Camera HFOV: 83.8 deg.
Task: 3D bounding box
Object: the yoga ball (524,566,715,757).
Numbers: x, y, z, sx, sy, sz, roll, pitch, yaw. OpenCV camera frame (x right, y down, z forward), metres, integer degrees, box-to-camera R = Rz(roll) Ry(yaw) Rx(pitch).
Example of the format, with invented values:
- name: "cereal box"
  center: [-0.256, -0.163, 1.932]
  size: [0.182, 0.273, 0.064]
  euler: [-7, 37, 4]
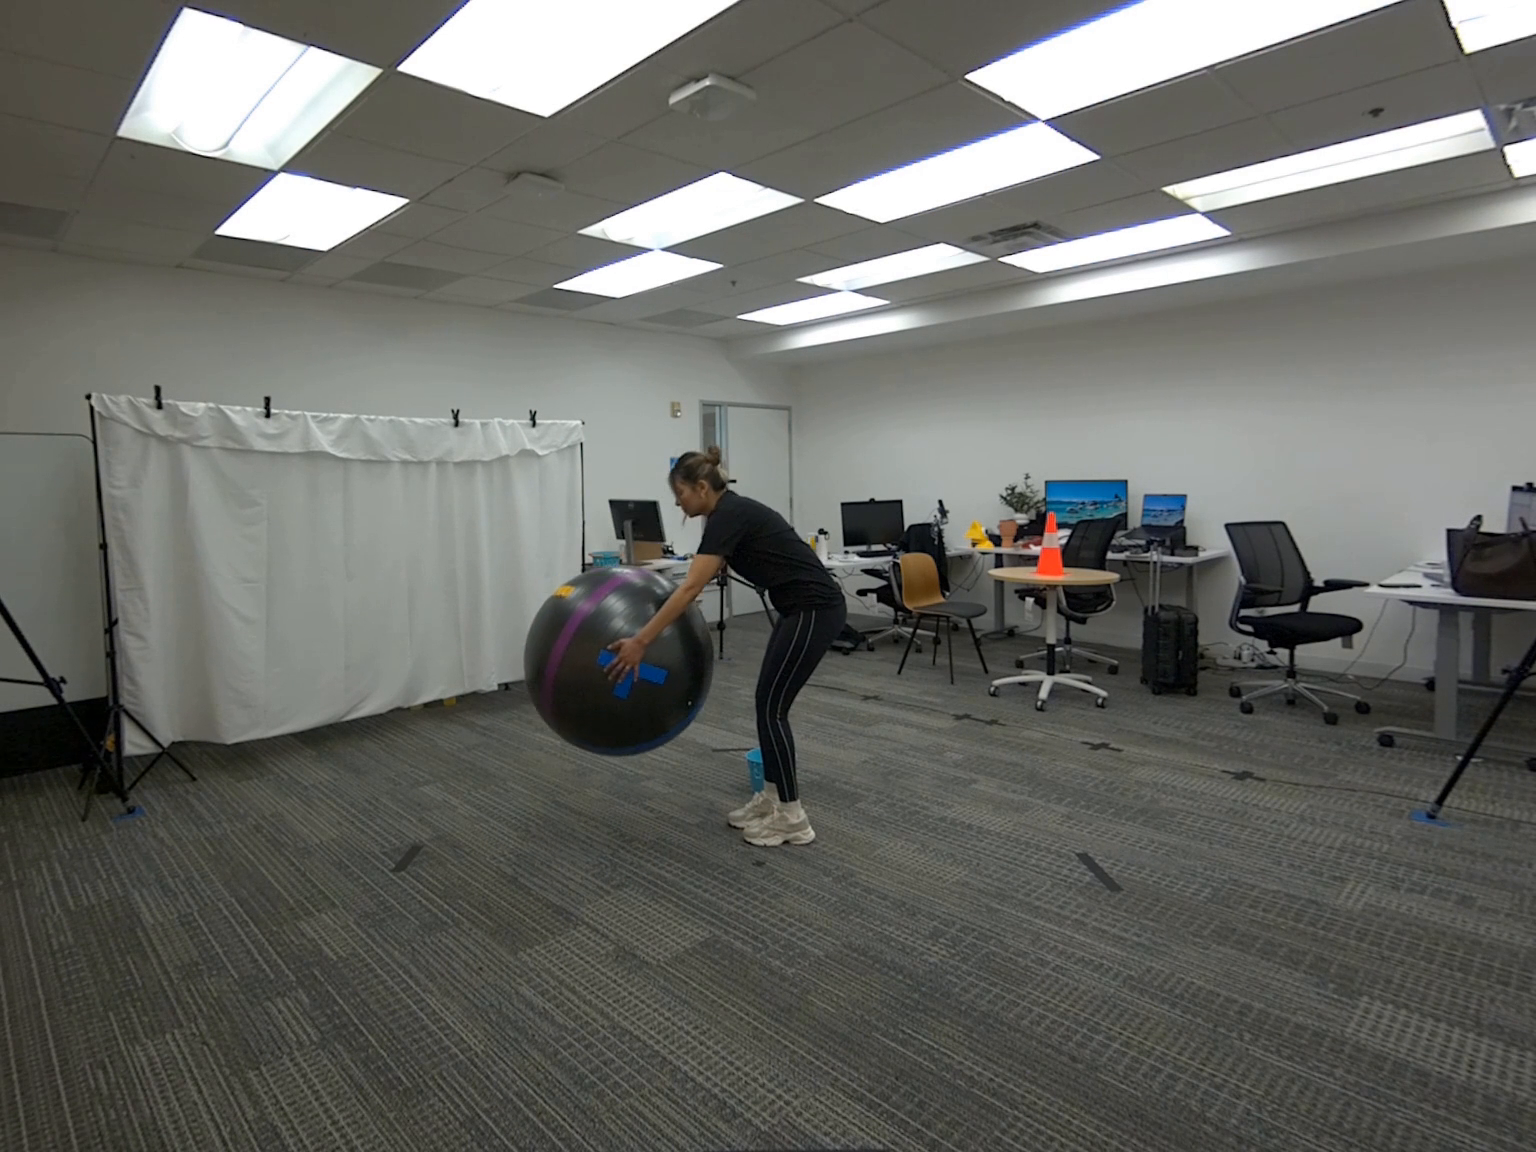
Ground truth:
- name: "yoga ball"
  center: [-0.600, 0.334, 3.430]
  size: [0.757, 0.755, 0.762]
  euler: [-1, 5, -2]
